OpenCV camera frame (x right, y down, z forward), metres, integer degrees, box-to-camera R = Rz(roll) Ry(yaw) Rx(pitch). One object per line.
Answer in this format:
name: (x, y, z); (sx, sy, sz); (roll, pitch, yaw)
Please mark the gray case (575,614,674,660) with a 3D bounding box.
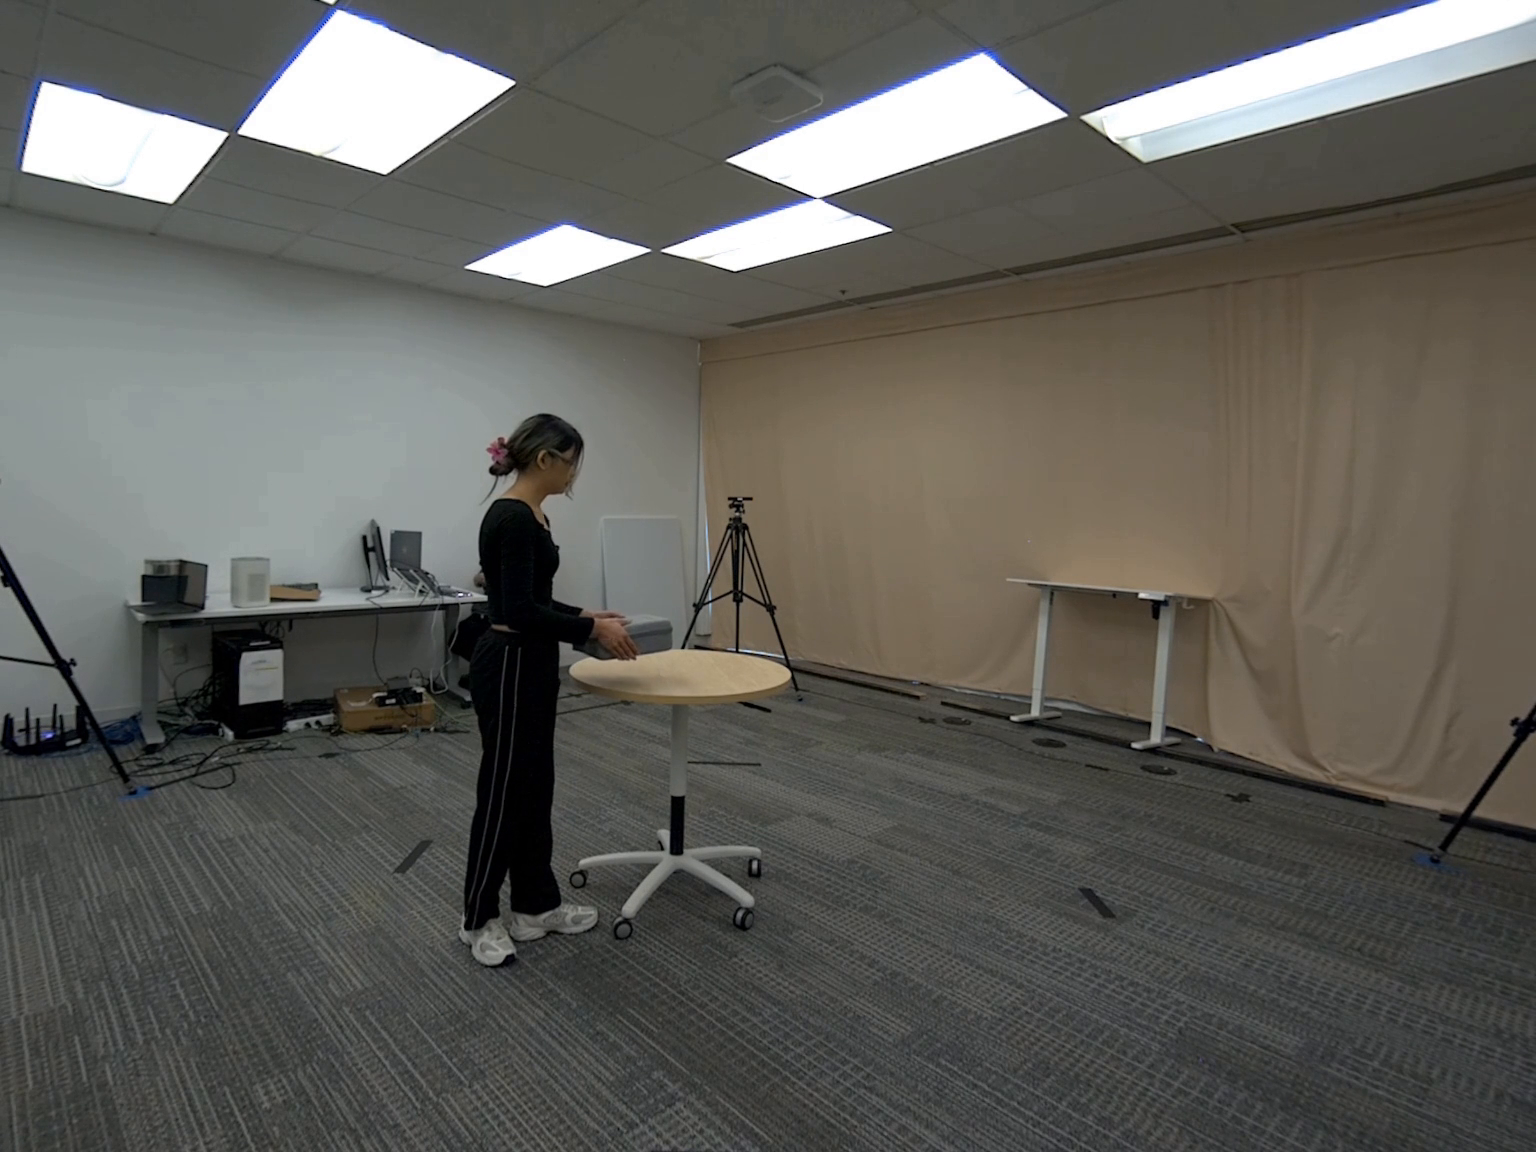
gray case: (-0.466, 0.180, 2.675); (0.255, 0.104, 0.263); (-5, 7, -34)
